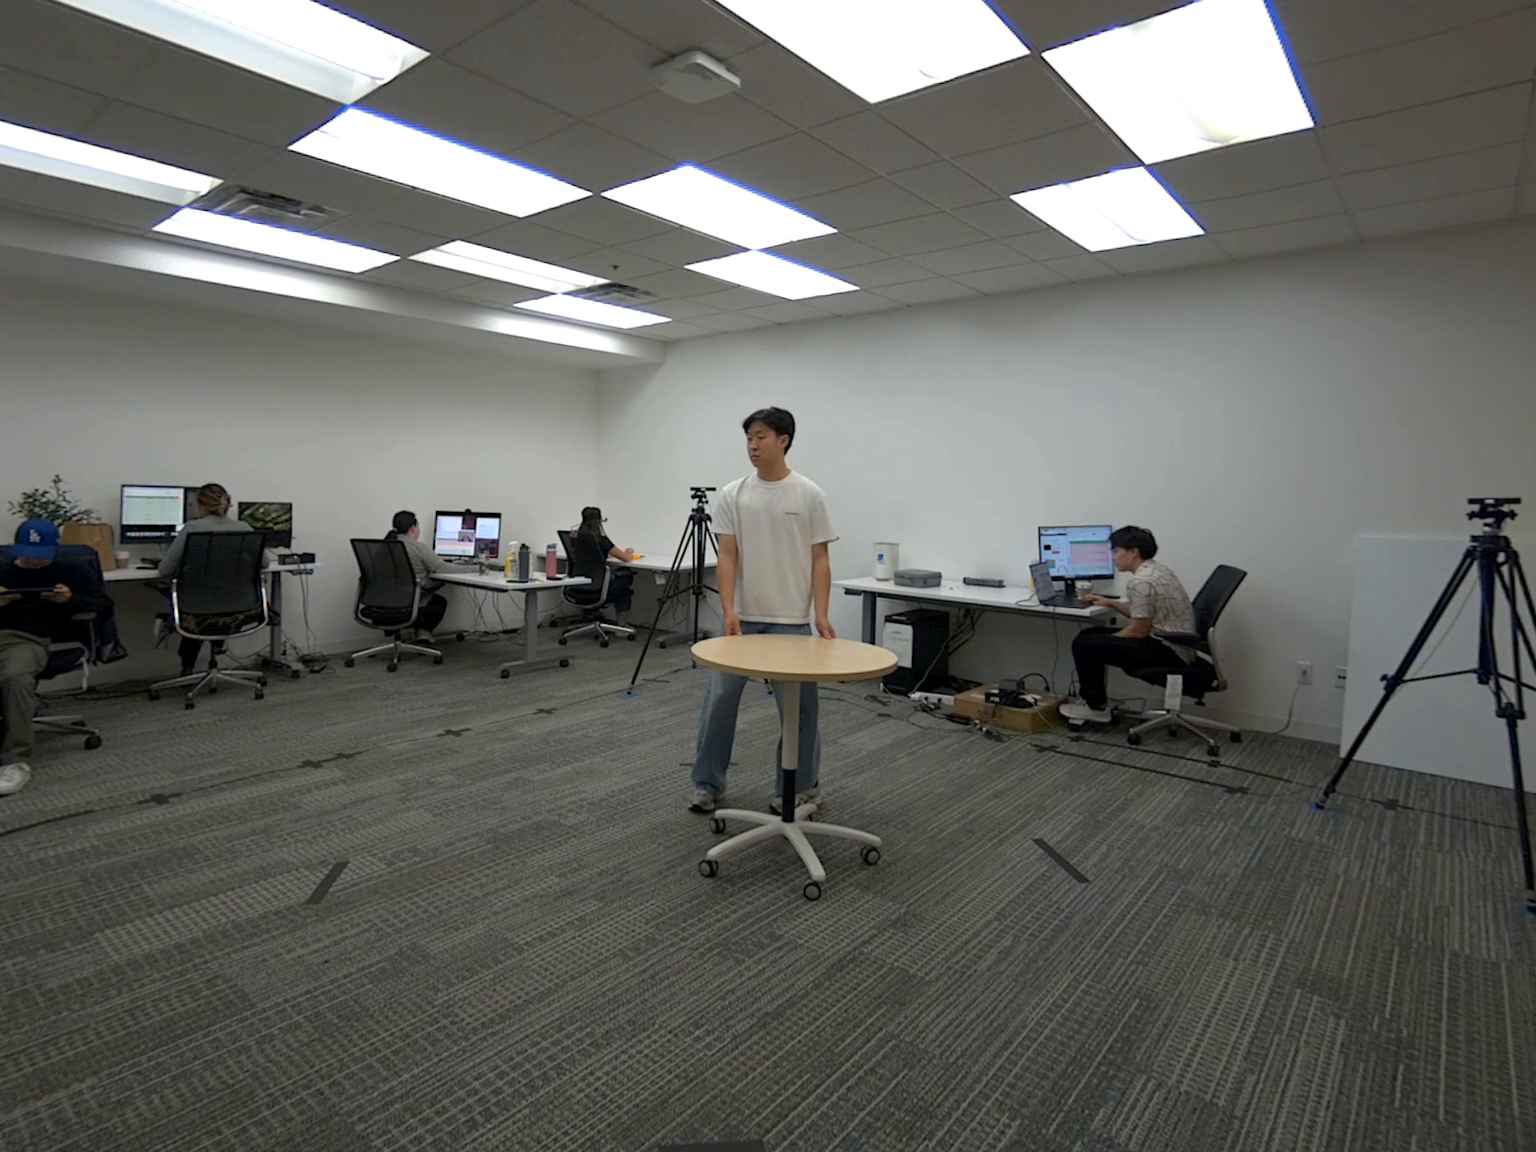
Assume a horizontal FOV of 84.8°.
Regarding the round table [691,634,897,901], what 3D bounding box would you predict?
[{"bbox_3d":[0.072,0.673,3.200,0.763,0.792,0.767,2,4,-2],"label":"round table"}]
